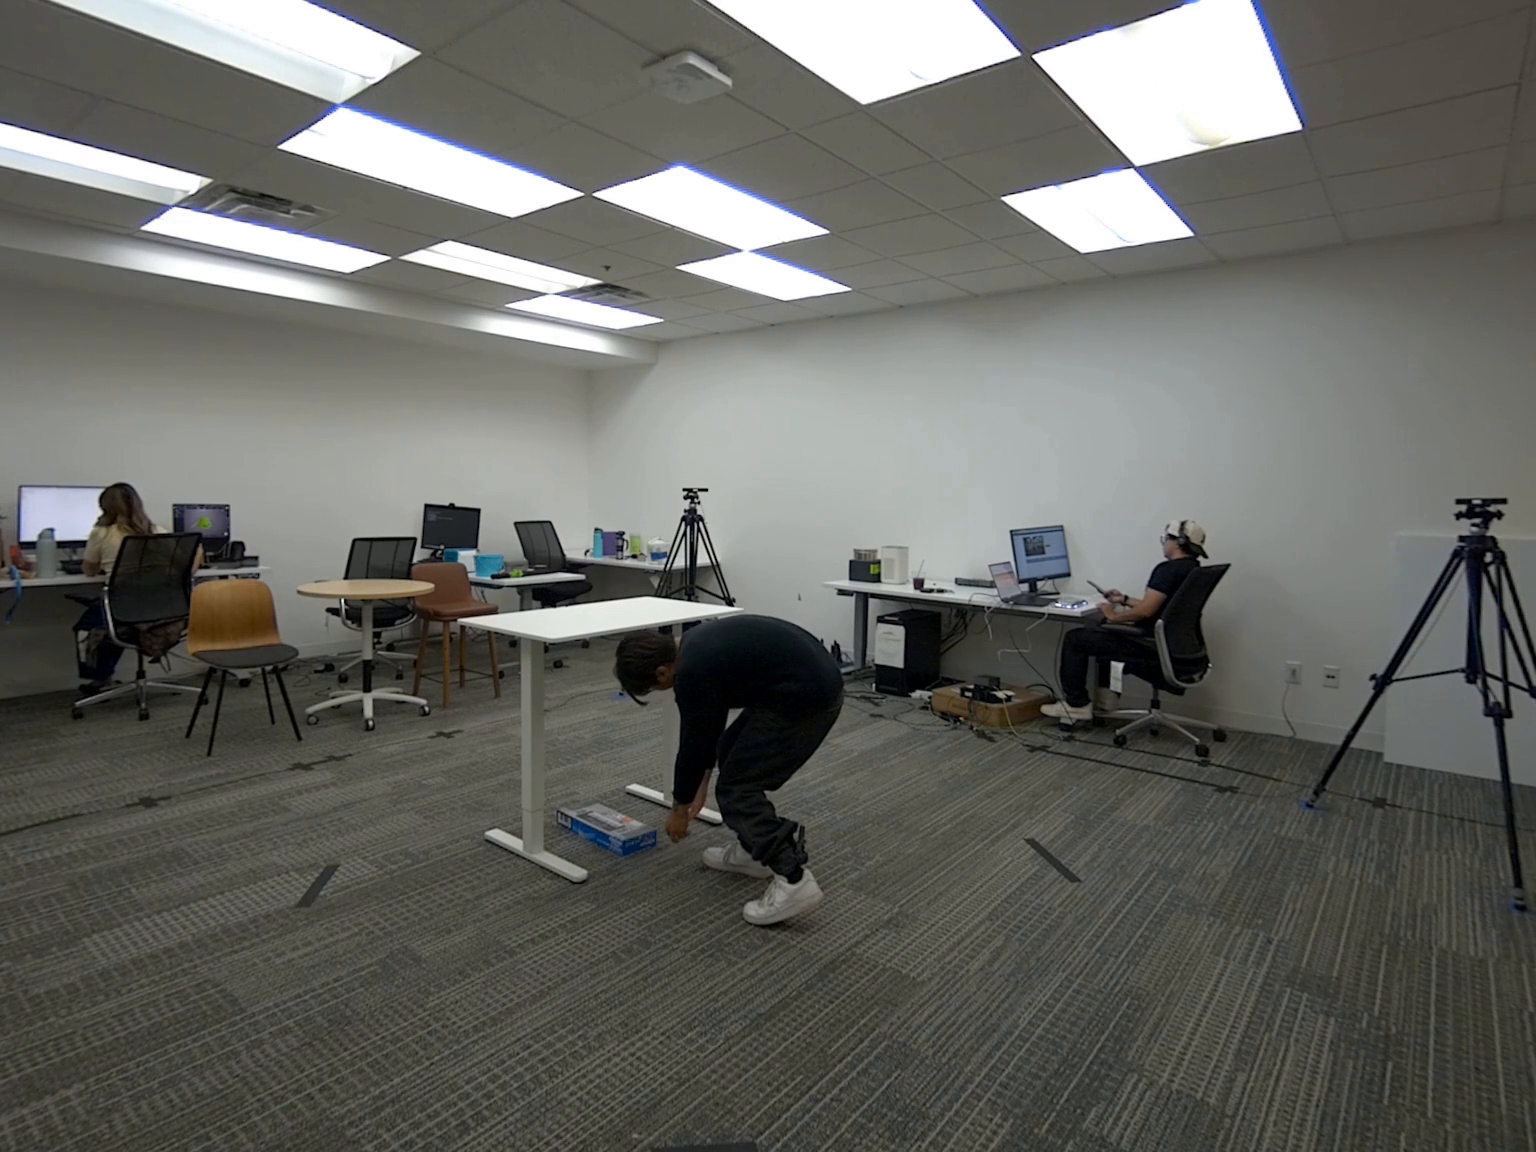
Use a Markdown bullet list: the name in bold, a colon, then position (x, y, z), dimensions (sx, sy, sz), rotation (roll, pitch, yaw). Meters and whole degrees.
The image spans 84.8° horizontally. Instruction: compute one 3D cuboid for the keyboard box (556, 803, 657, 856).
- **keyboard box**: position (-0.662, 1.002, 3.417), dimensions (0.452, 0.059, 0.170), rotation (6, 7, 43)
